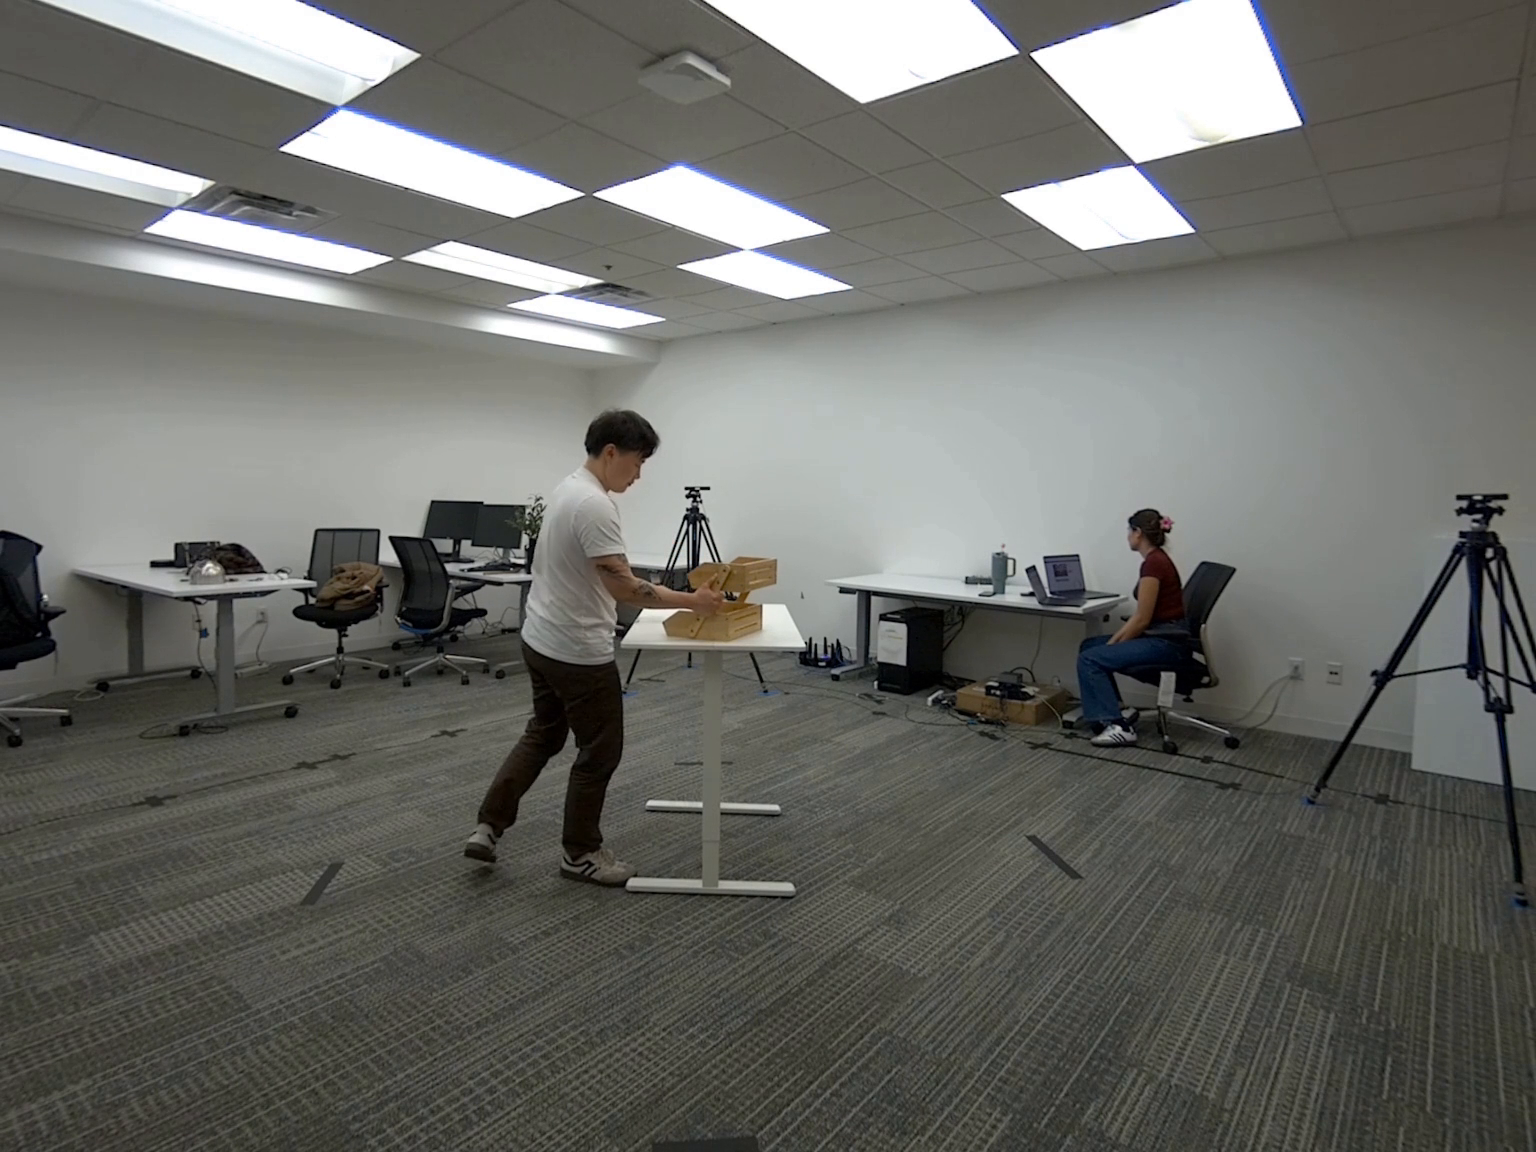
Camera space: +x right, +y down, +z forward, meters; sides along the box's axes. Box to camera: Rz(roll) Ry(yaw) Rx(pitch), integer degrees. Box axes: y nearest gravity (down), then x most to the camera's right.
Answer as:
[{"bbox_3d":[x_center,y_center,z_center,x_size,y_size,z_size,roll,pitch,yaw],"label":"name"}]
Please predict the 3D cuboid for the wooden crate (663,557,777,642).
[{"bbox_3d":[-0.178,0.068,2.985,0.309,0.272,0.318,3,5,23],"label":"wooden crate"}]
